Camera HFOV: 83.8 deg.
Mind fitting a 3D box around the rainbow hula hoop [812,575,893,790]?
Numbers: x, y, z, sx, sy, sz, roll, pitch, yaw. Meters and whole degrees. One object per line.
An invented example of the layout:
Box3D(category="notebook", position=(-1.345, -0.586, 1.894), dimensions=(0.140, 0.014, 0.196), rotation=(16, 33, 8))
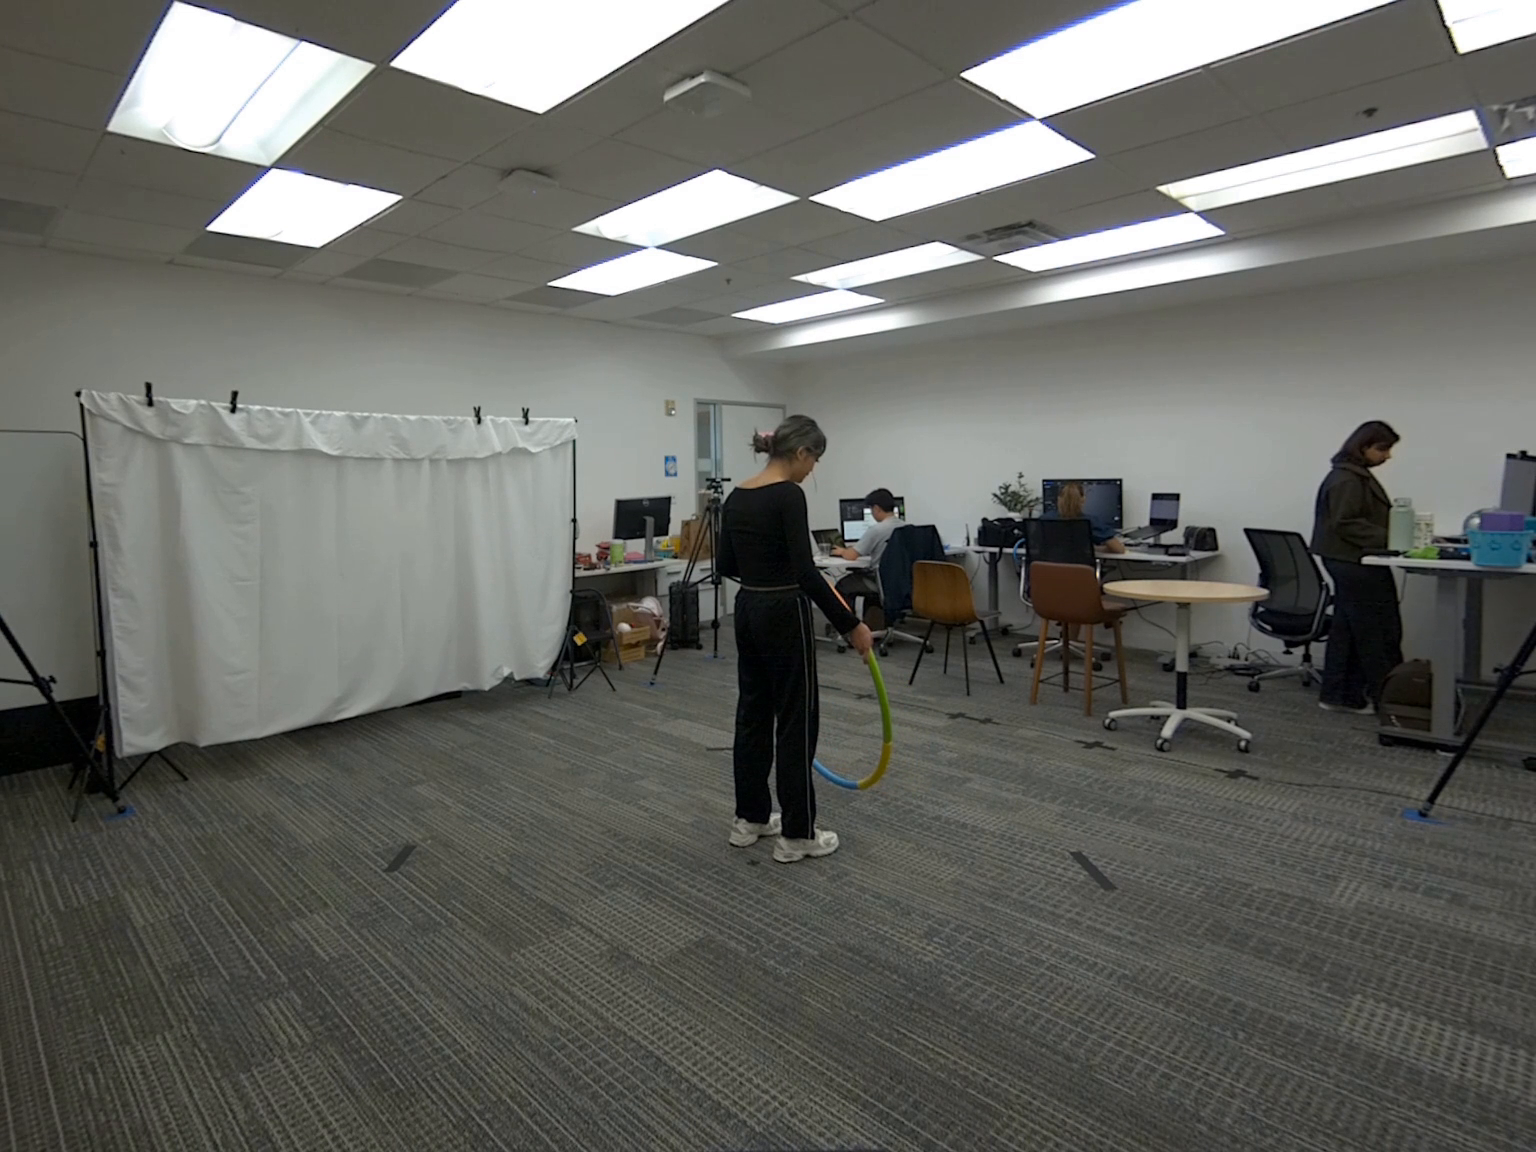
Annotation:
Box3D(category="rainbow hula hoop", position=(0.172, 0.380, 3.449), dimensions=(0.035, 0.967, 1.005), rotation=(-19, 12, -26))
